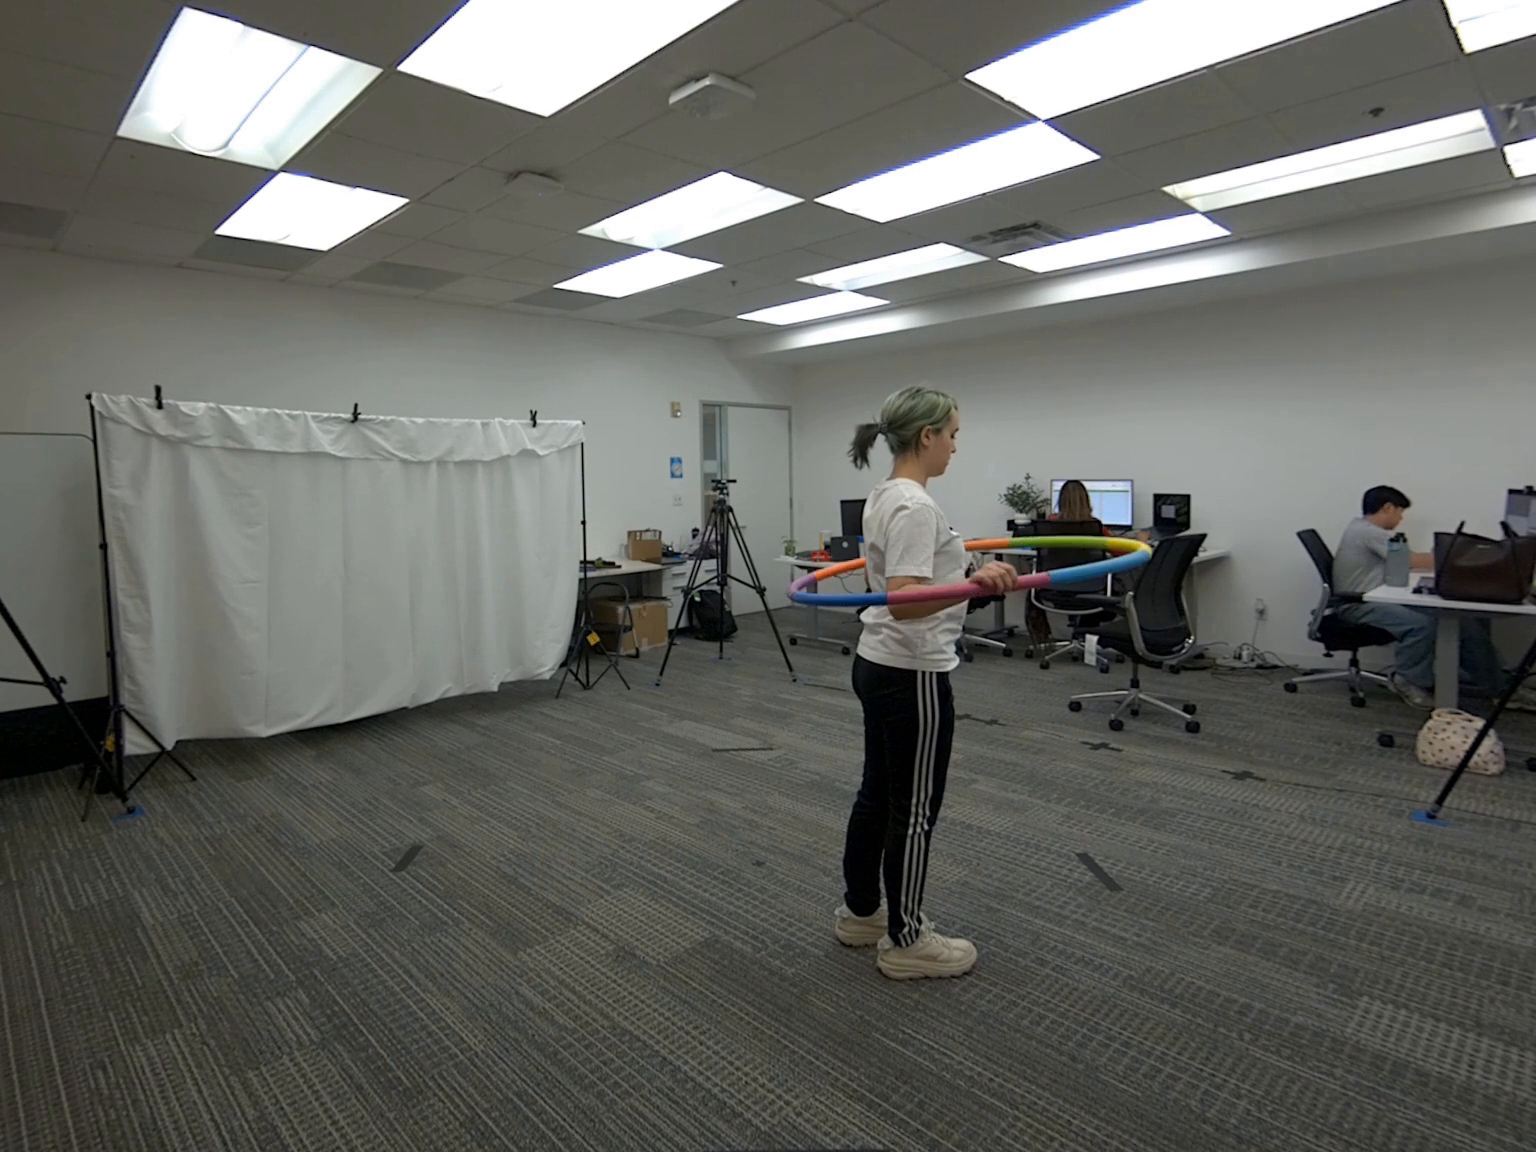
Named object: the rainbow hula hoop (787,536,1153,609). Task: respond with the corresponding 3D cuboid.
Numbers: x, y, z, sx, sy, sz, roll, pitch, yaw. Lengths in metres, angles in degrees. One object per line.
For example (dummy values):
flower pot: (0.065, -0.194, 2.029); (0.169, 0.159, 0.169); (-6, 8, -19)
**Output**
rainbow hula hoop: (0.523, -0.025, 2.419); (0.985, 0.051, 0.990); (-8, 6, -1)
